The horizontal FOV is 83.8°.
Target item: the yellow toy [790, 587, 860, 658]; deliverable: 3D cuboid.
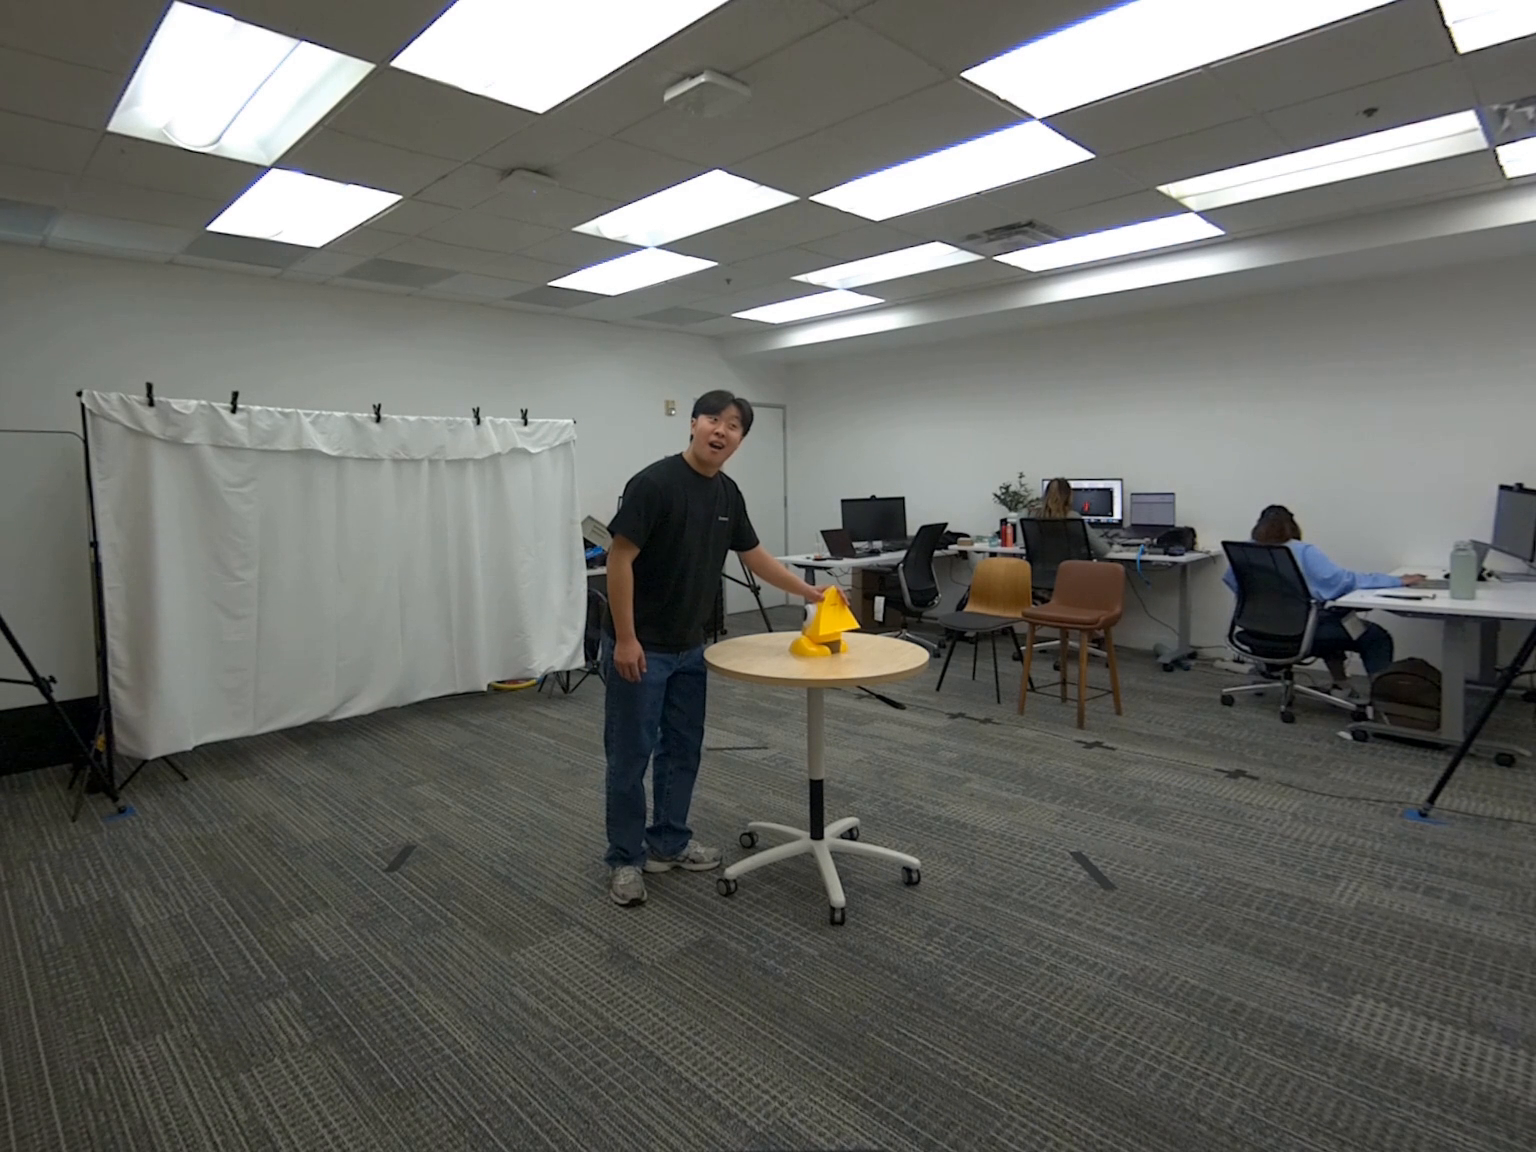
[{"bbox_3d":[0.183,0.144,2.952,0.199,0.229,0.199,-5,7,-41],"label":"yellow toy"}]
